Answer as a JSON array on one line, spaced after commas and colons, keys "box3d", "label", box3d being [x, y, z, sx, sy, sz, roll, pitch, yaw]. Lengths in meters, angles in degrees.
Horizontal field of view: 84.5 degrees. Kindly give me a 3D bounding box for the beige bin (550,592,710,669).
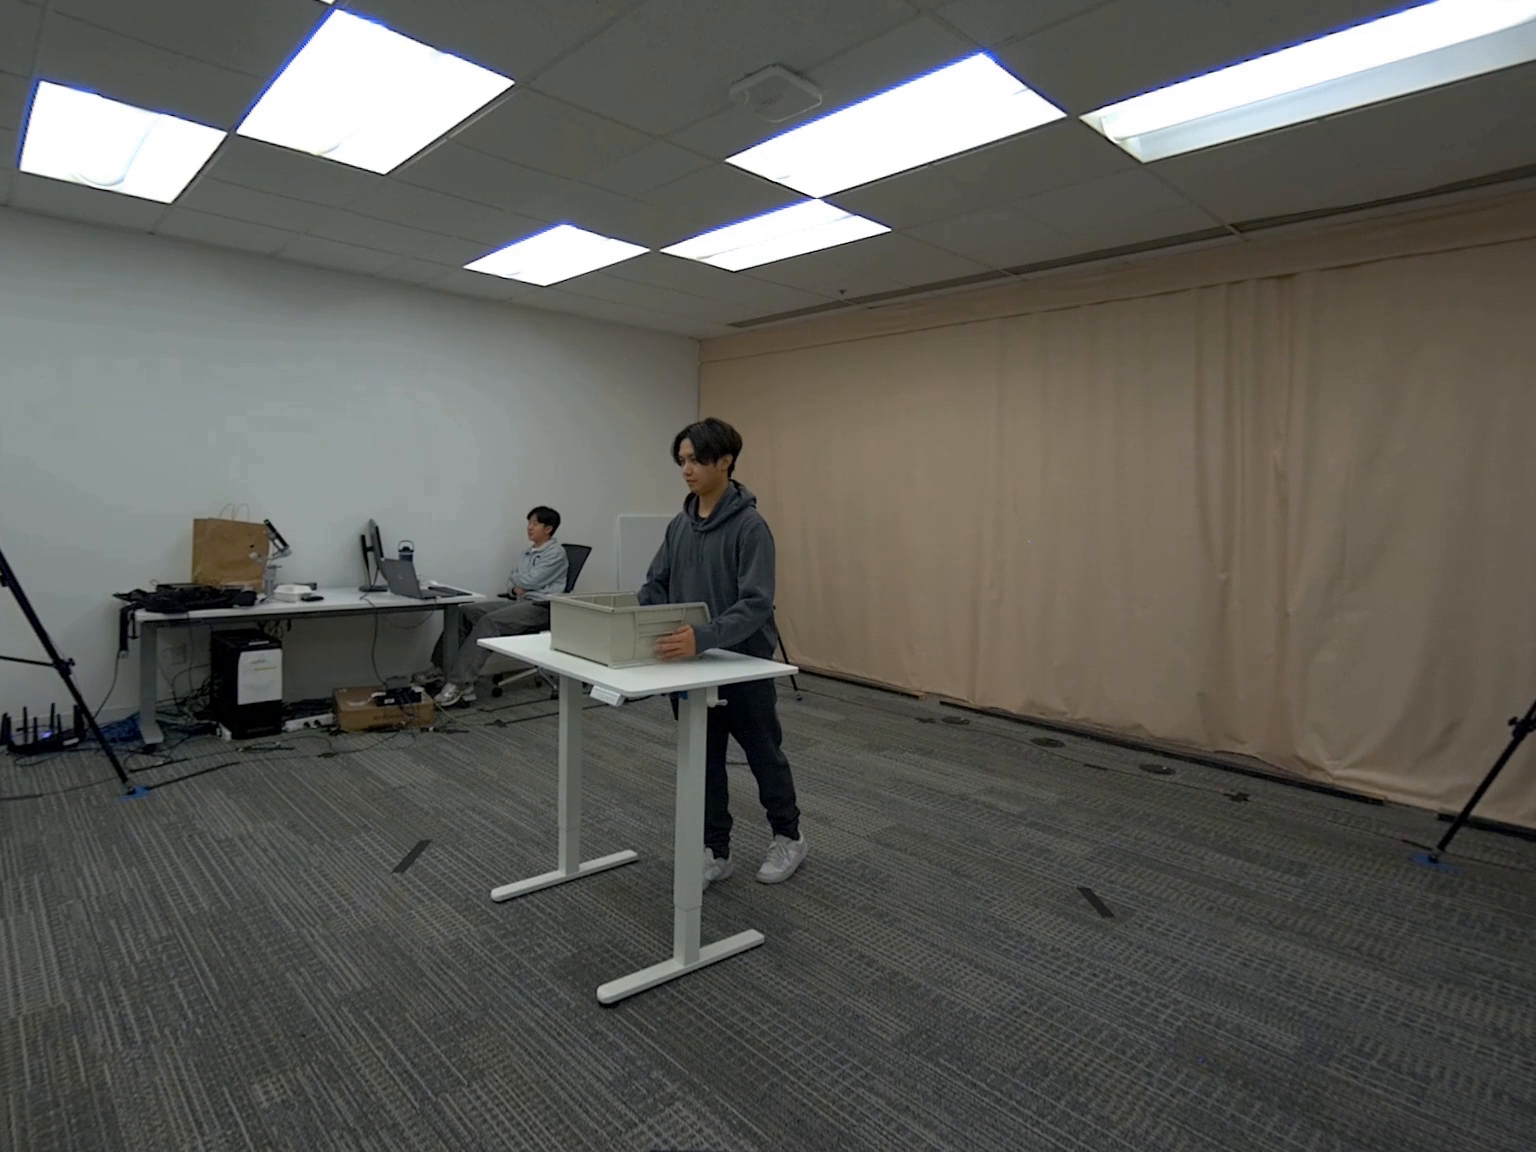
[{"box3d": [-0.462, 0.166, 2.702, 0.369, 0.188, 0.433, -3, 6, -40], "label": "beige bin"}]
